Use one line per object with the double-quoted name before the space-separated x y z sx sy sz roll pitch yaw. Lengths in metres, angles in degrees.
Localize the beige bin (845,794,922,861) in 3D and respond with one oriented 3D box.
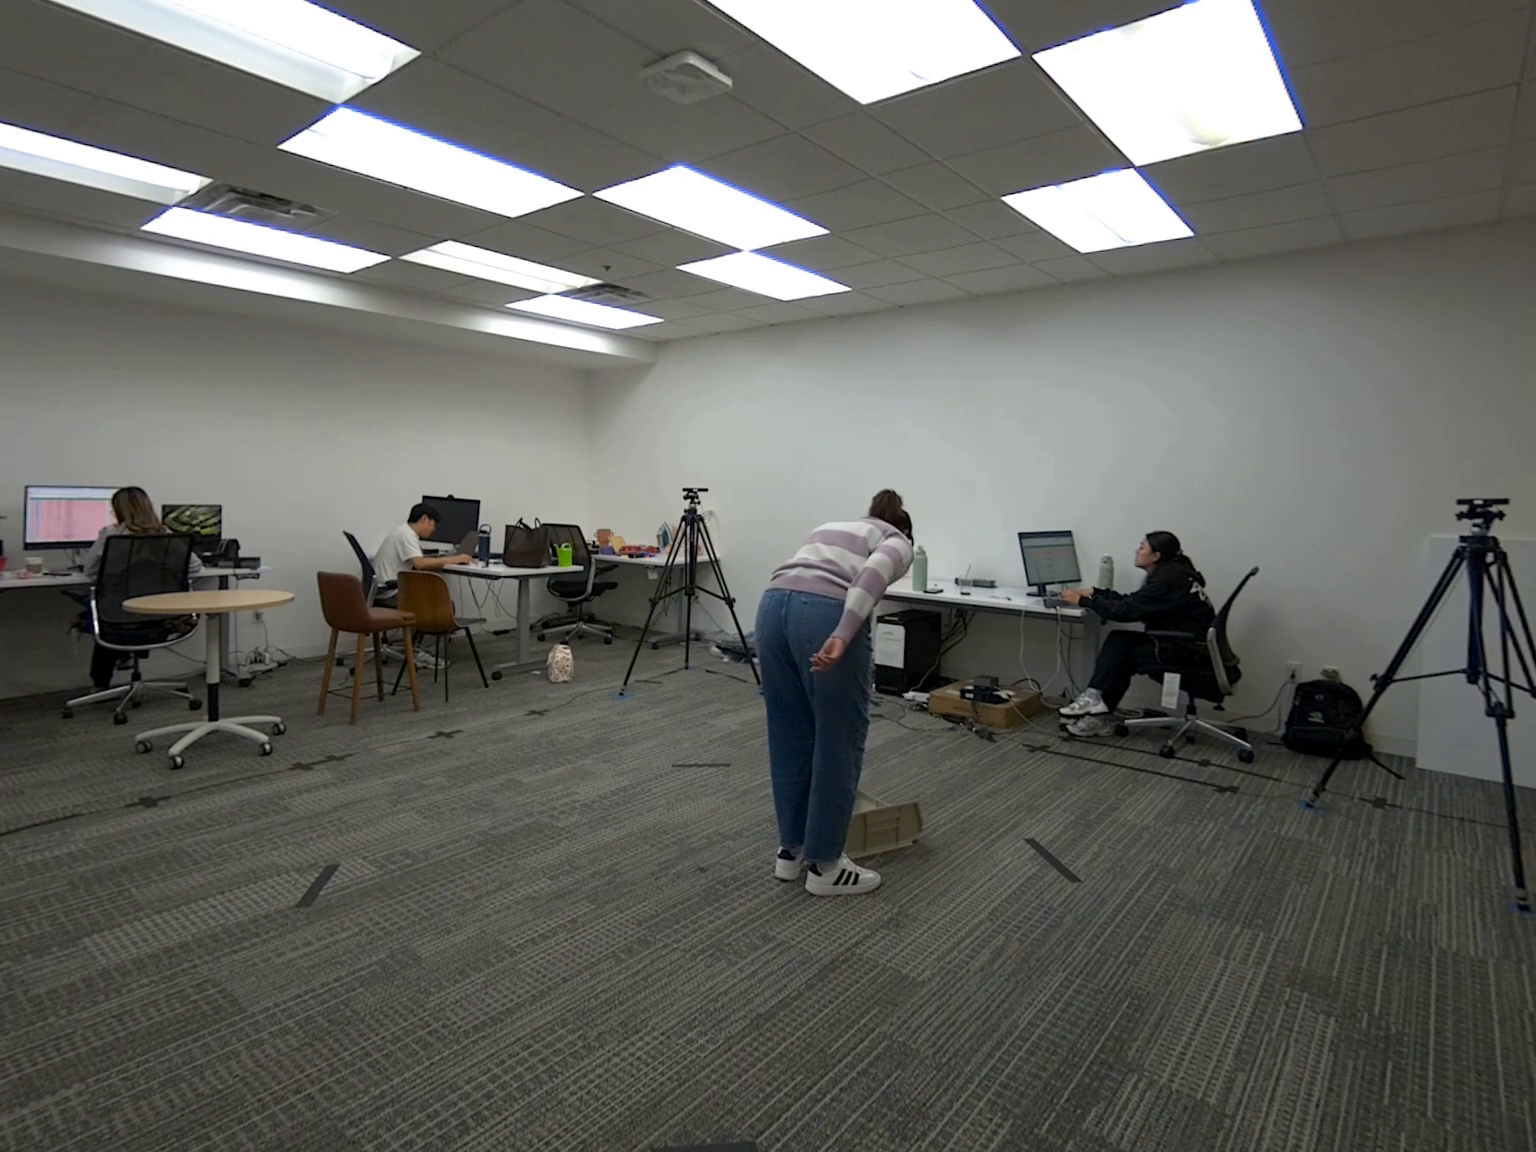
"beige bin" 0.342 0.956 3.474 0.367 0.188 0.436 -3 7 -32
